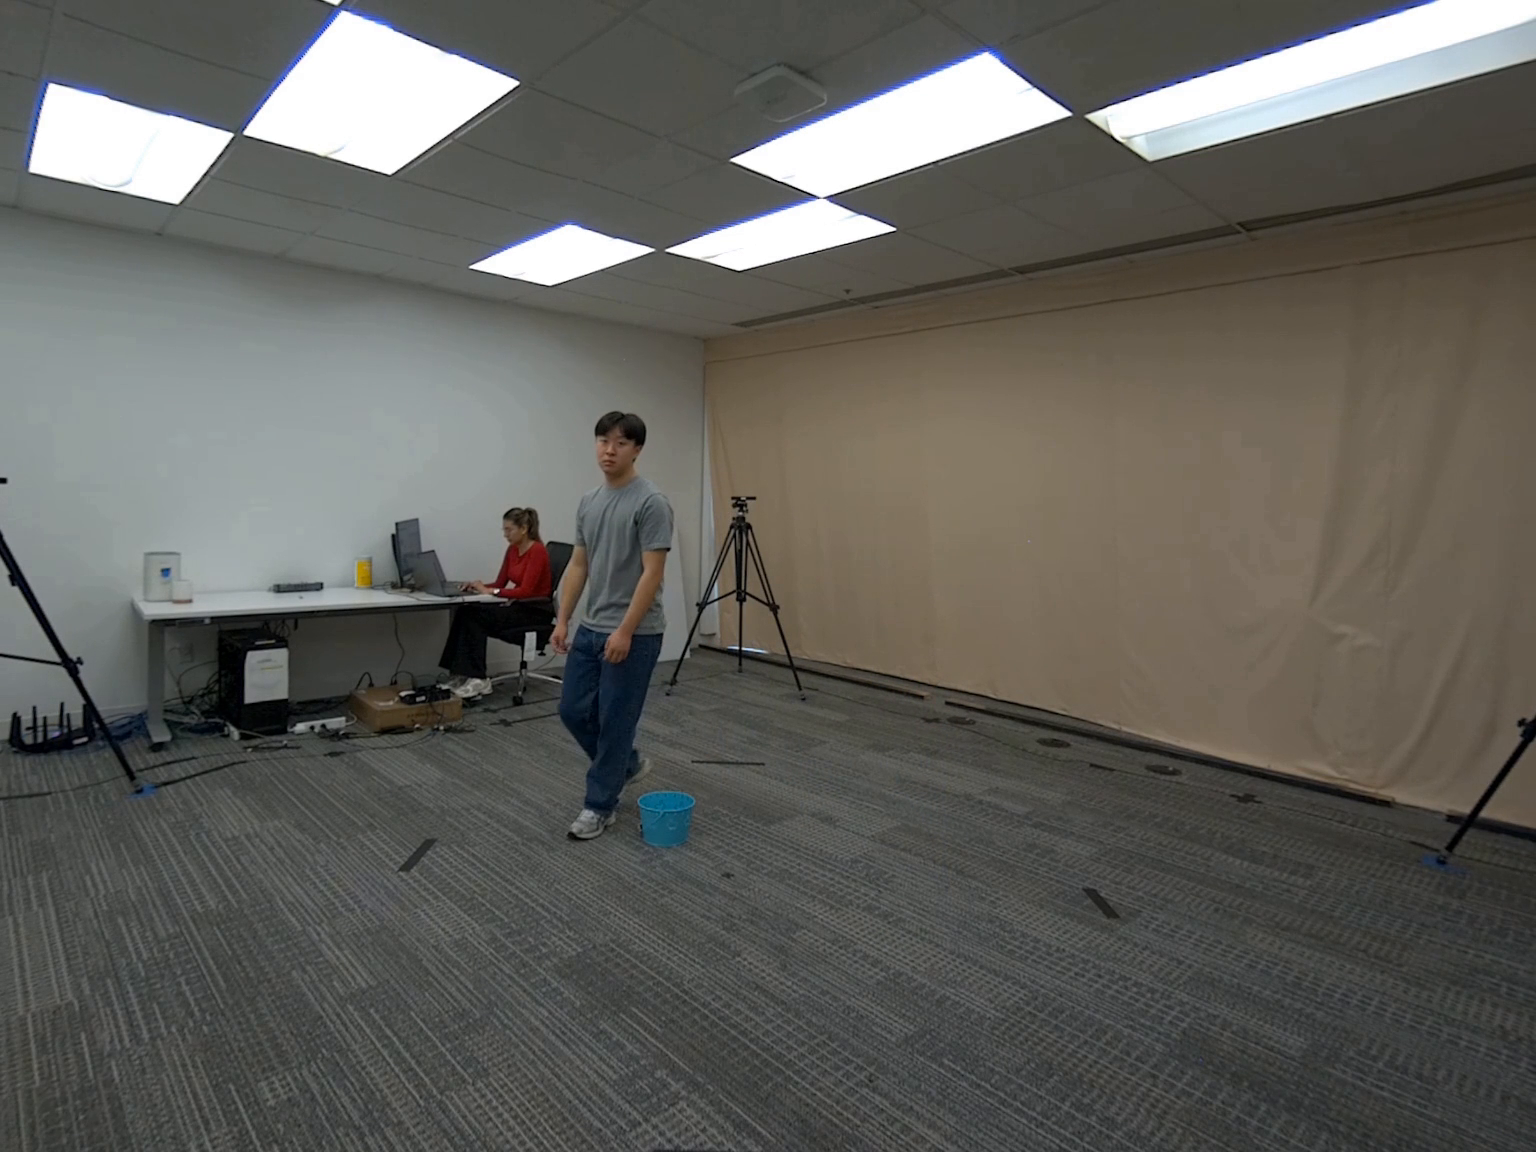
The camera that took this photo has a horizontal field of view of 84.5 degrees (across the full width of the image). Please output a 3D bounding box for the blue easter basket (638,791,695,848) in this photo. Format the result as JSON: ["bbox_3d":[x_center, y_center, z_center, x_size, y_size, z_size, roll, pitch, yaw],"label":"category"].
[{"bbox_3d":[-0.429,0.993,3.438,0.243,0.155,0.244,2,5,-2],"label":"blue easter basket"}]
